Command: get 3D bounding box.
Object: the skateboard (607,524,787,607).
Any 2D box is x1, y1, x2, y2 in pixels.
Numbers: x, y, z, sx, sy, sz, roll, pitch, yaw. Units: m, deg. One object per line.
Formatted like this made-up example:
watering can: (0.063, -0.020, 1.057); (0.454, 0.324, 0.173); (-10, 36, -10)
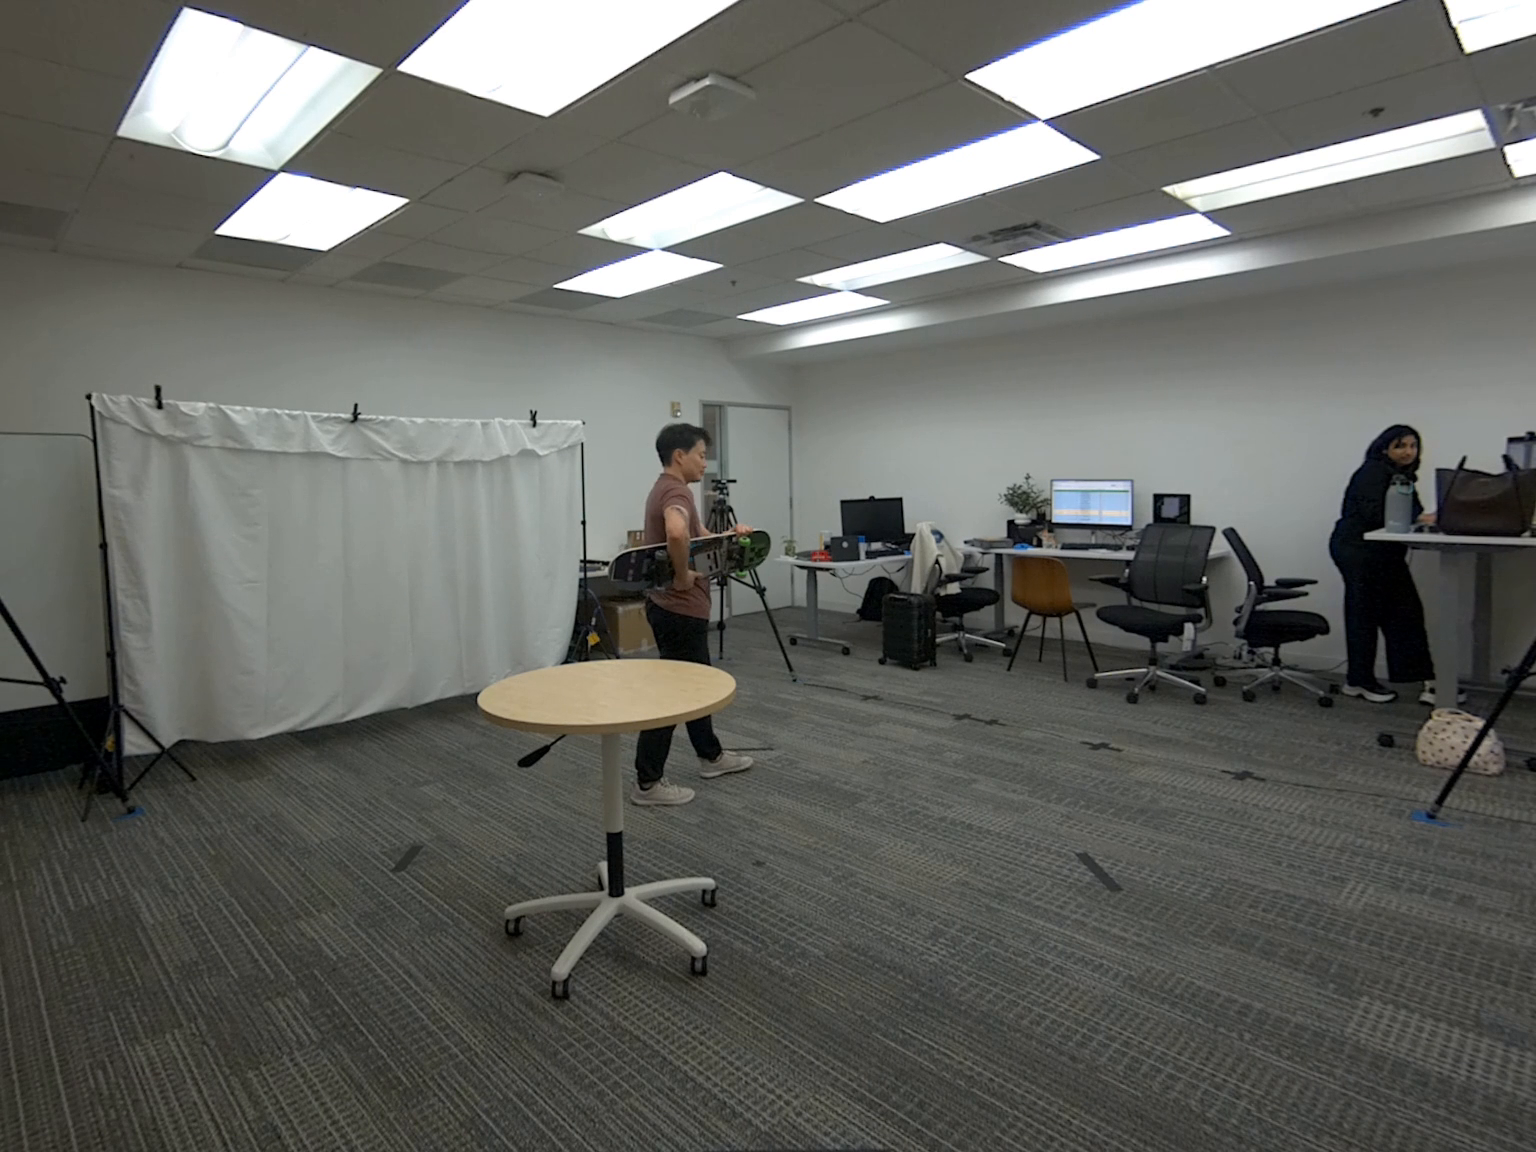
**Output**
skateboard: (-0.290, -0.055, 3.607); (0.769, 0.190, 0.115); (-11, 29, -30)
